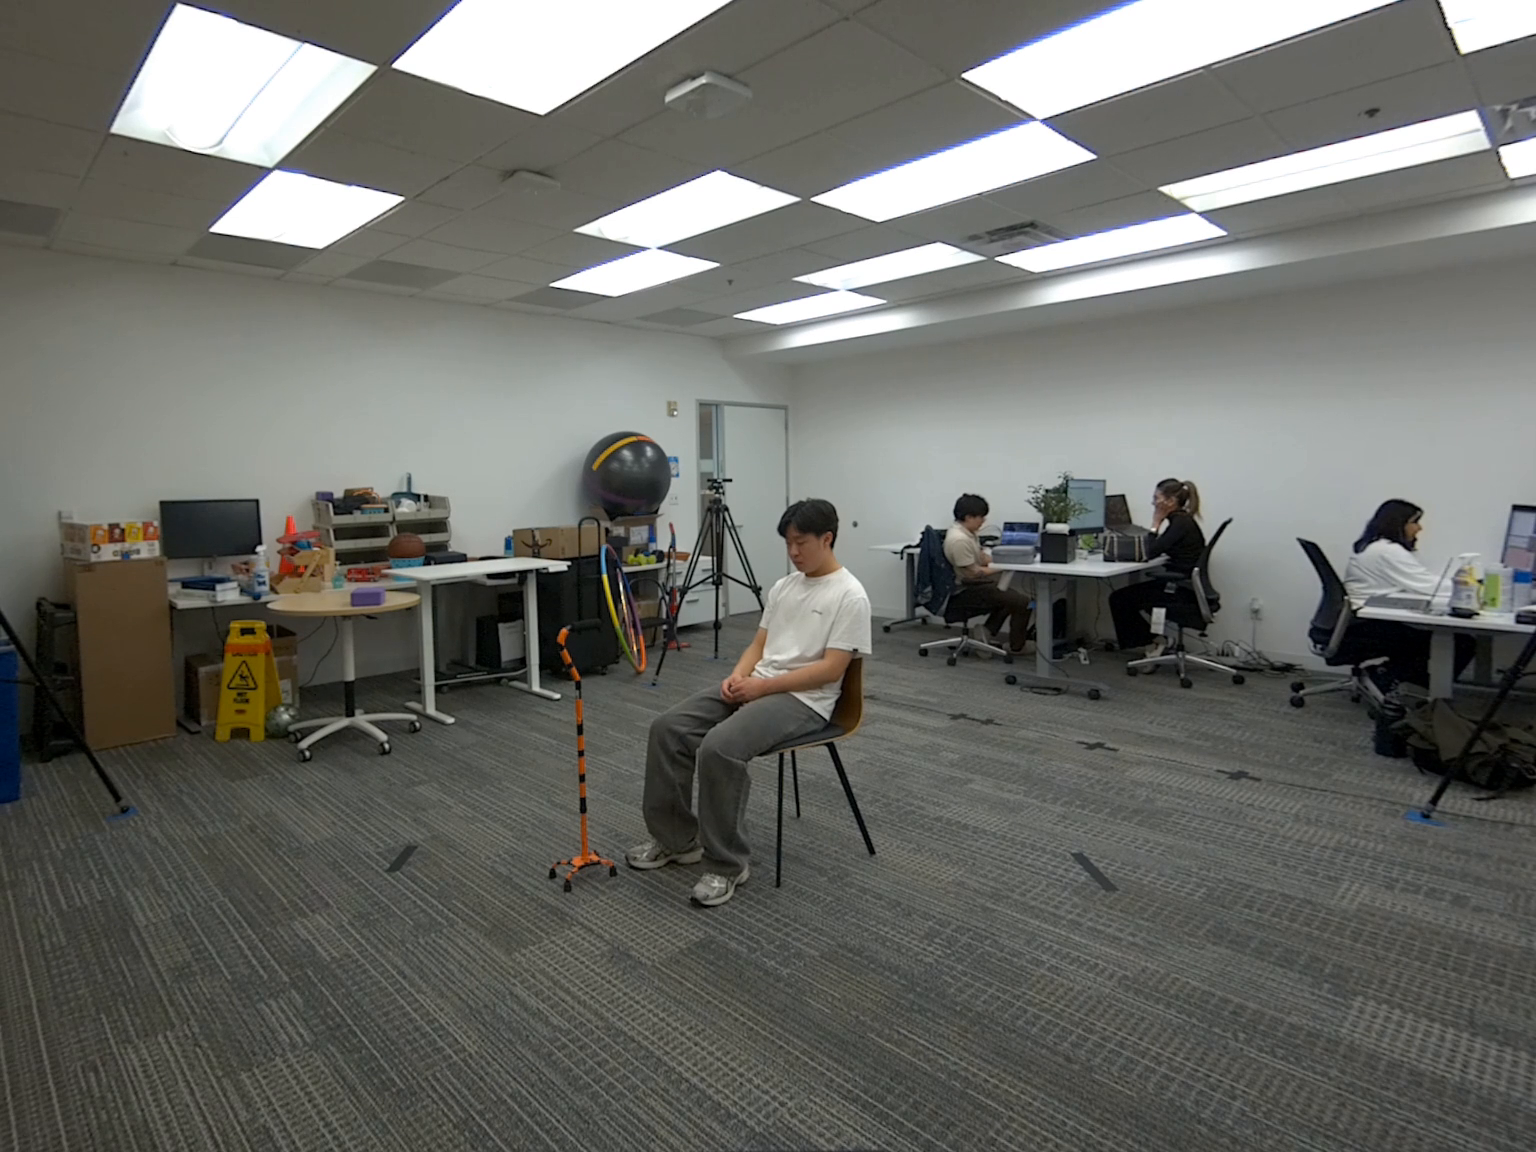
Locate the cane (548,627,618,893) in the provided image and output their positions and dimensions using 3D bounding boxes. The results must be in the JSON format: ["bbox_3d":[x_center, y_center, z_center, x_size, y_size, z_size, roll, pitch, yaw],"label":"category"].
[{"bbox_3d":[-0.666,0.611,3.008,0.201,0.904,0.156,-5,5,-38],"label":"cane"}]
